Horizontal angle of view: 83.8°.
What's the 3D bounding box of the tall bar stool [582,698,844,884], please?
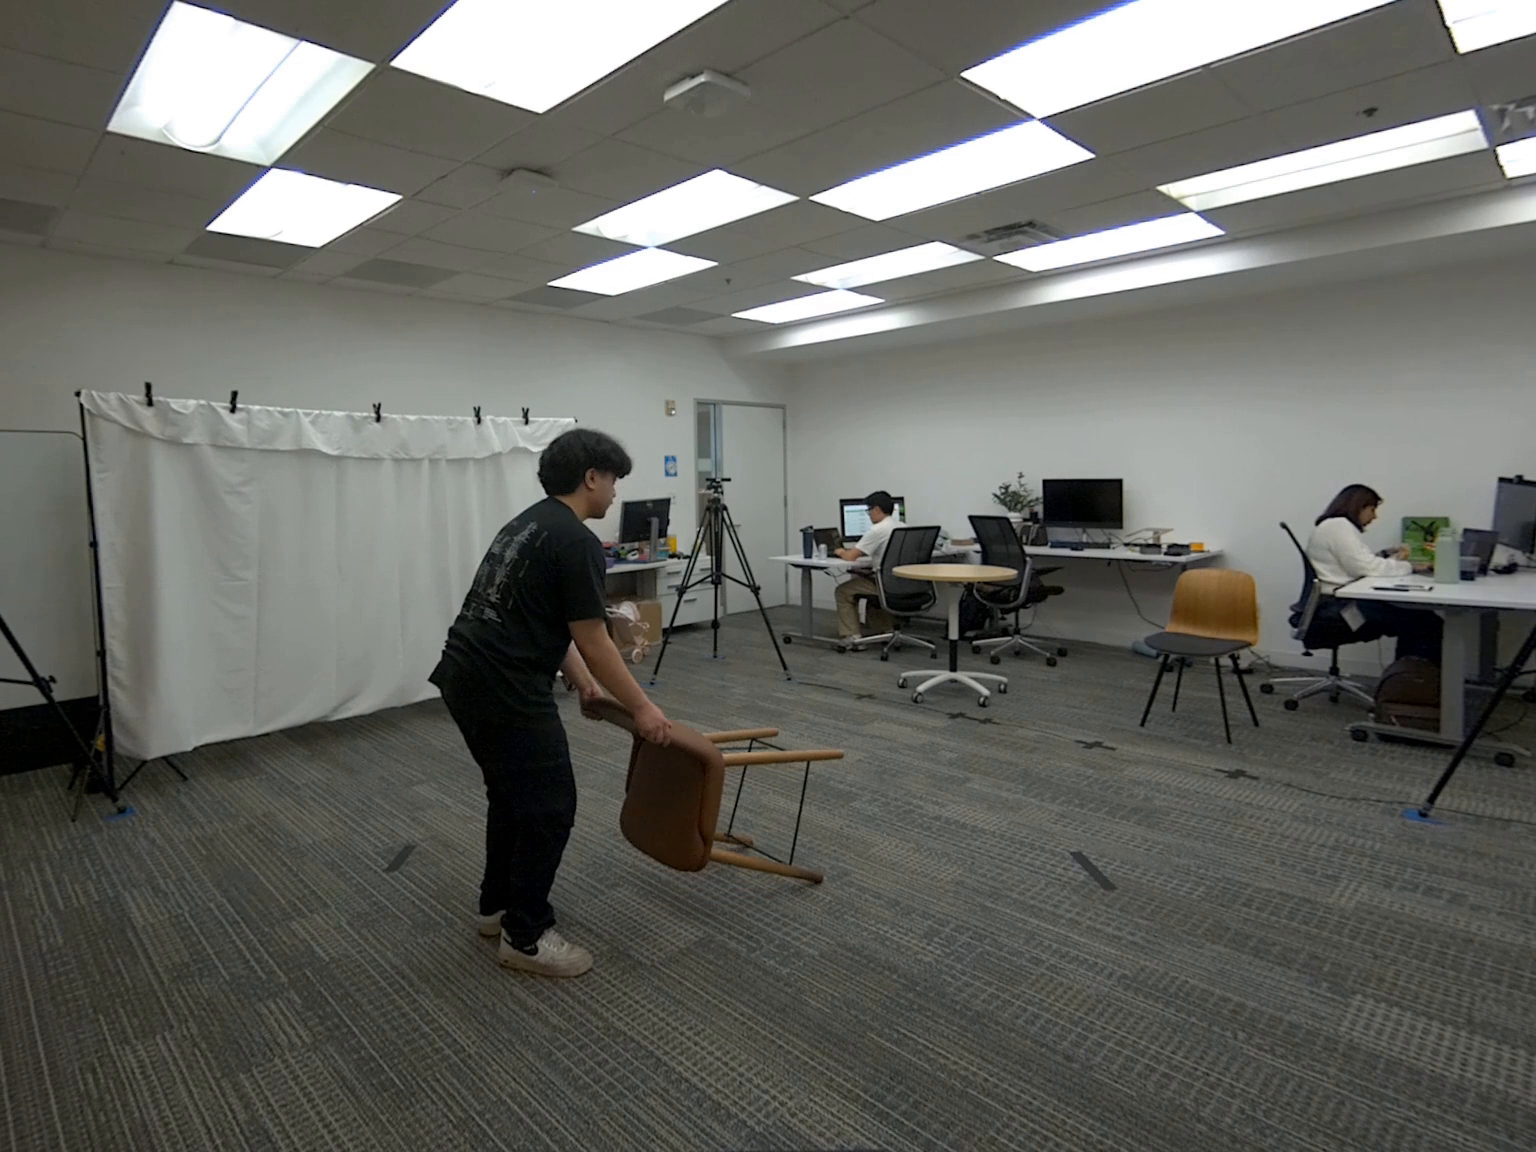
[{"bbox_3d":[-0.213,0.720,2.873,0.858,0.470,0.470,19,-9,-39],"label":"tall bar stool"}]
